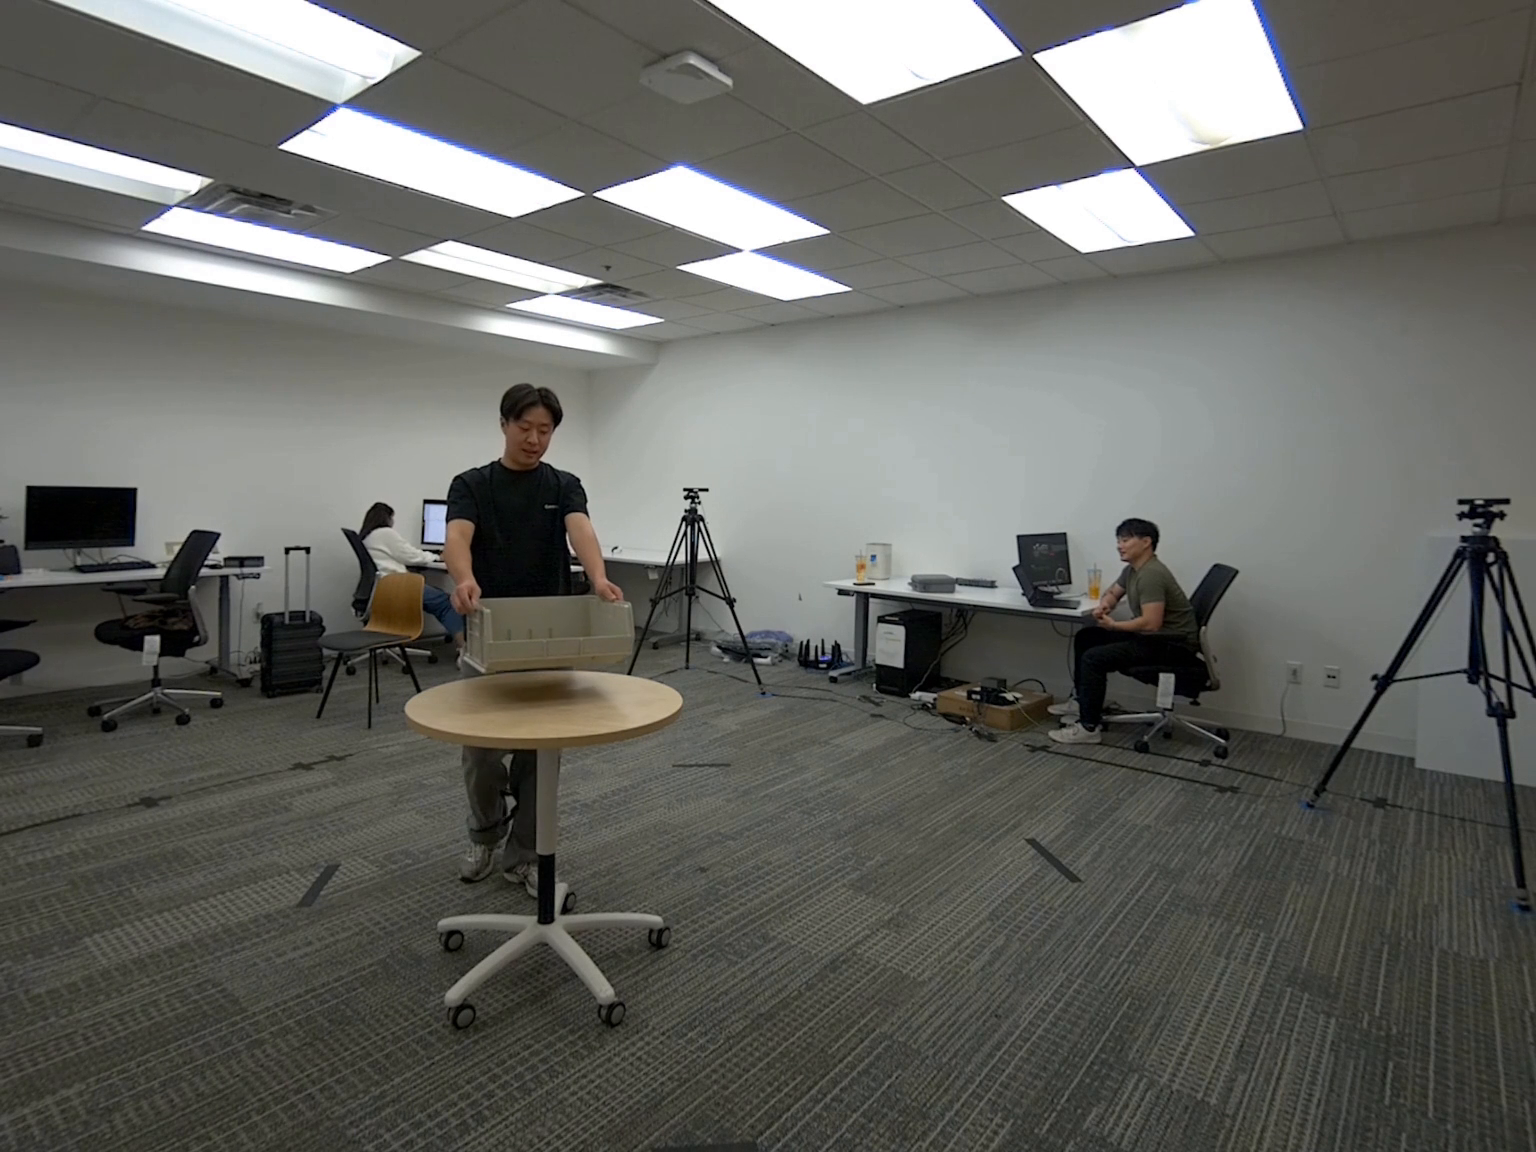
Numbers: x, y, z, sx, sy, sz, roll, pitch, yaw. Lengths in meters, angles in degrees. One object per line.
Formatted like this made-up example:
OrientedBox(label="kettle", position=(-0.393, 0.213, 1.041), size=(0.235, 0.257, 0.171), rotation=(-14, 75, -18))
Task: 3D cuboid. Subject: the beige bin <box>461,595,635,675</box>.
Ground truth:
OrientedBox(label="beige bin", position=(-0.667, 0.166, 2.499), size=(0.412, 0.189, 0.387), rotation=(-2, 2, -28))
